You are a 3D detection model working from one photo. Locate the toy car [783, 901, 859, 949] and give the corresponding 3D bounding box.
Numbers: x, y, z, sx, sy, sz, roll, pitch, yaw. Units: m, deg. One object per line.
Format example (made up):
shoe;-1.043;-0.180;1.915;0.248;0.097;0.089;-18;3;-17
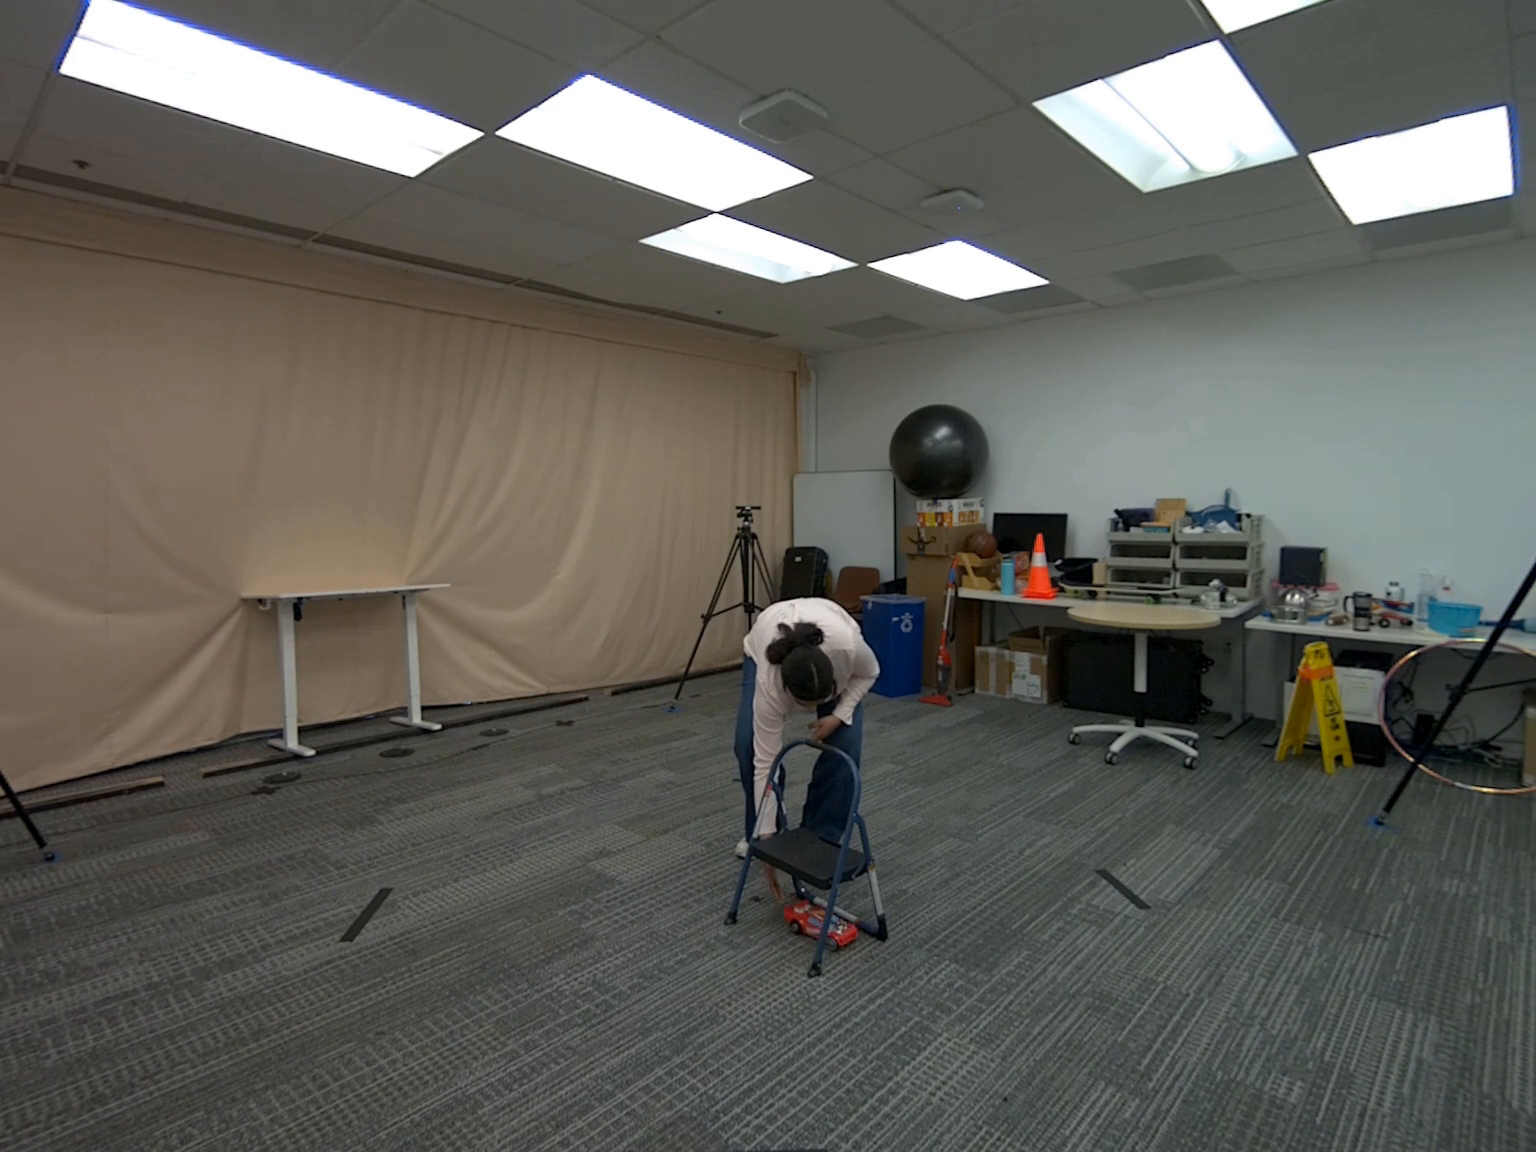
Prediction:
toy car;0.161;1.131;2.747;0.264;0.083;0.126;19;16;41
